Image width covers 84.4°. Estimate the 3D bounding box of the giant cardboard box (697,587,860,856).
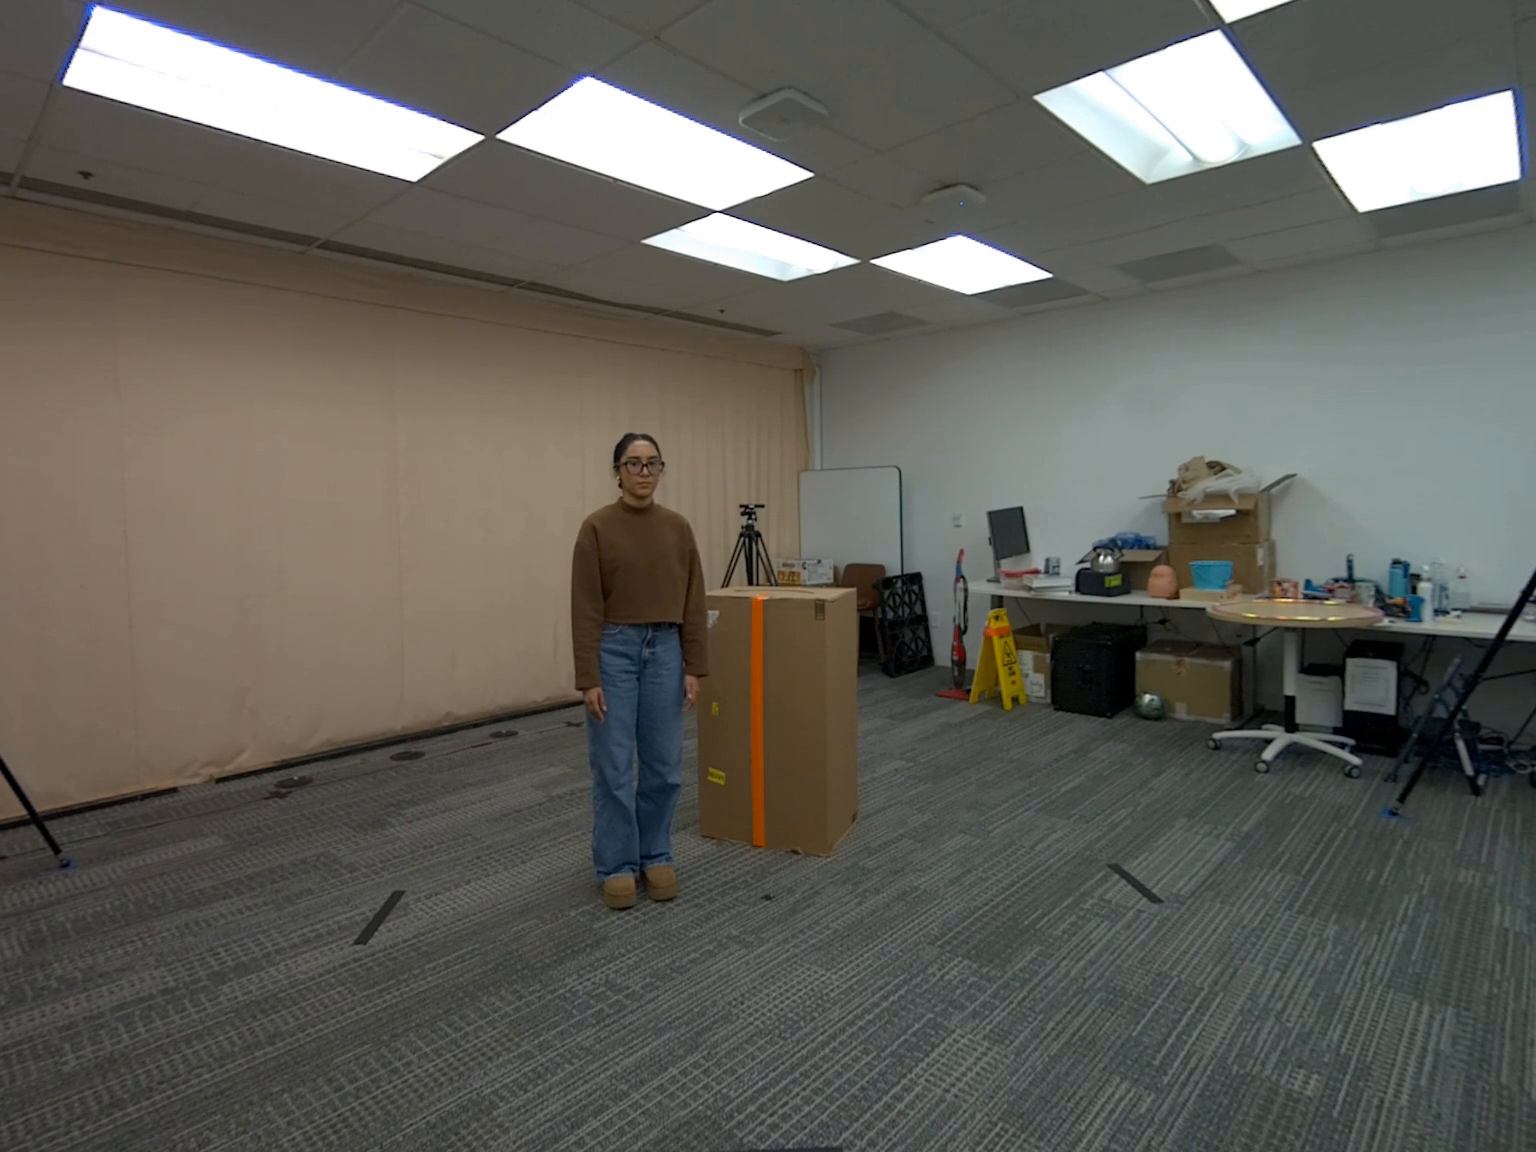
[{"bbox_3d":[0.049,0.576,3.596,0.592,1.023,0.417,1,4,24],"label":"giant cardboard box"}]
